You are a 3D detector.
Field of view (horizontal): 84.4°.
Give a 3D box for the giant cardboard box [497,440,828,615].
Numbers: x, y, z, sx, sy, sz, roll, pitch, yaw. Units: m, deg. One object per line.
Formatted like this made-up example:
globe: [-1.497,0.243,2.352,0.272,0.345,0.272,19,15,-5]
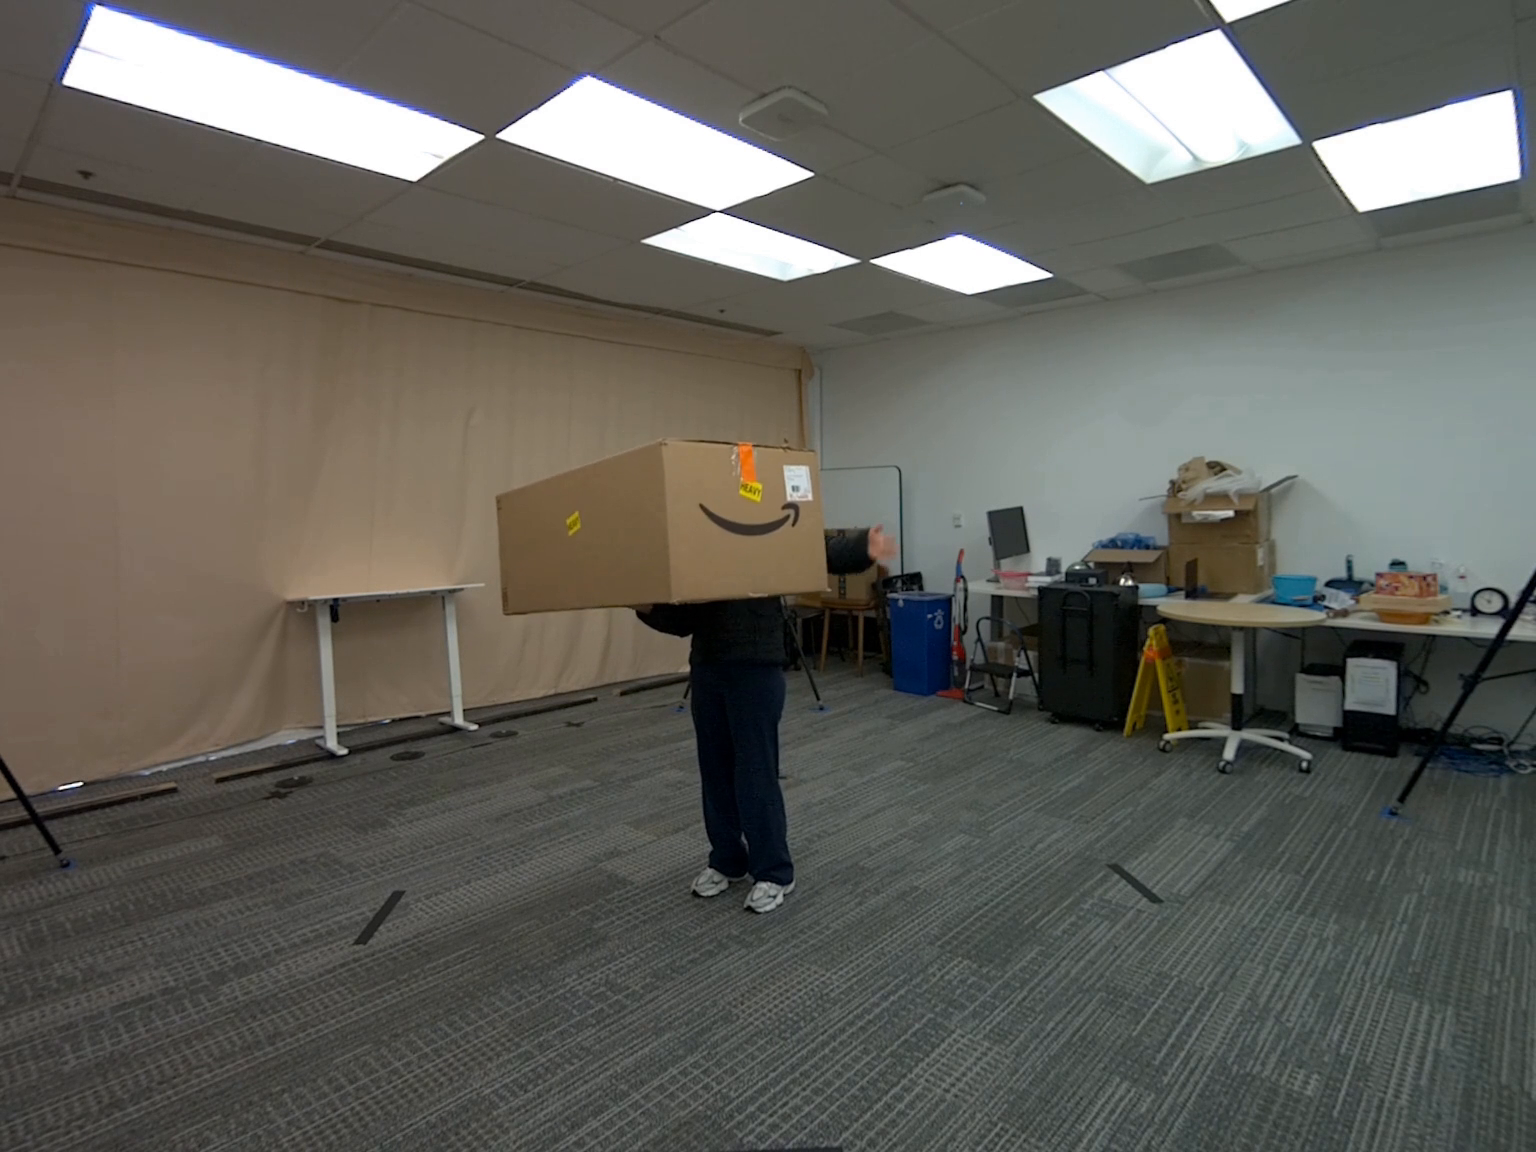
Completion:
giant cardboard box: [-0.367,-0.120,2.712,0.560,0.427,1.056,-3,-2,-41]
